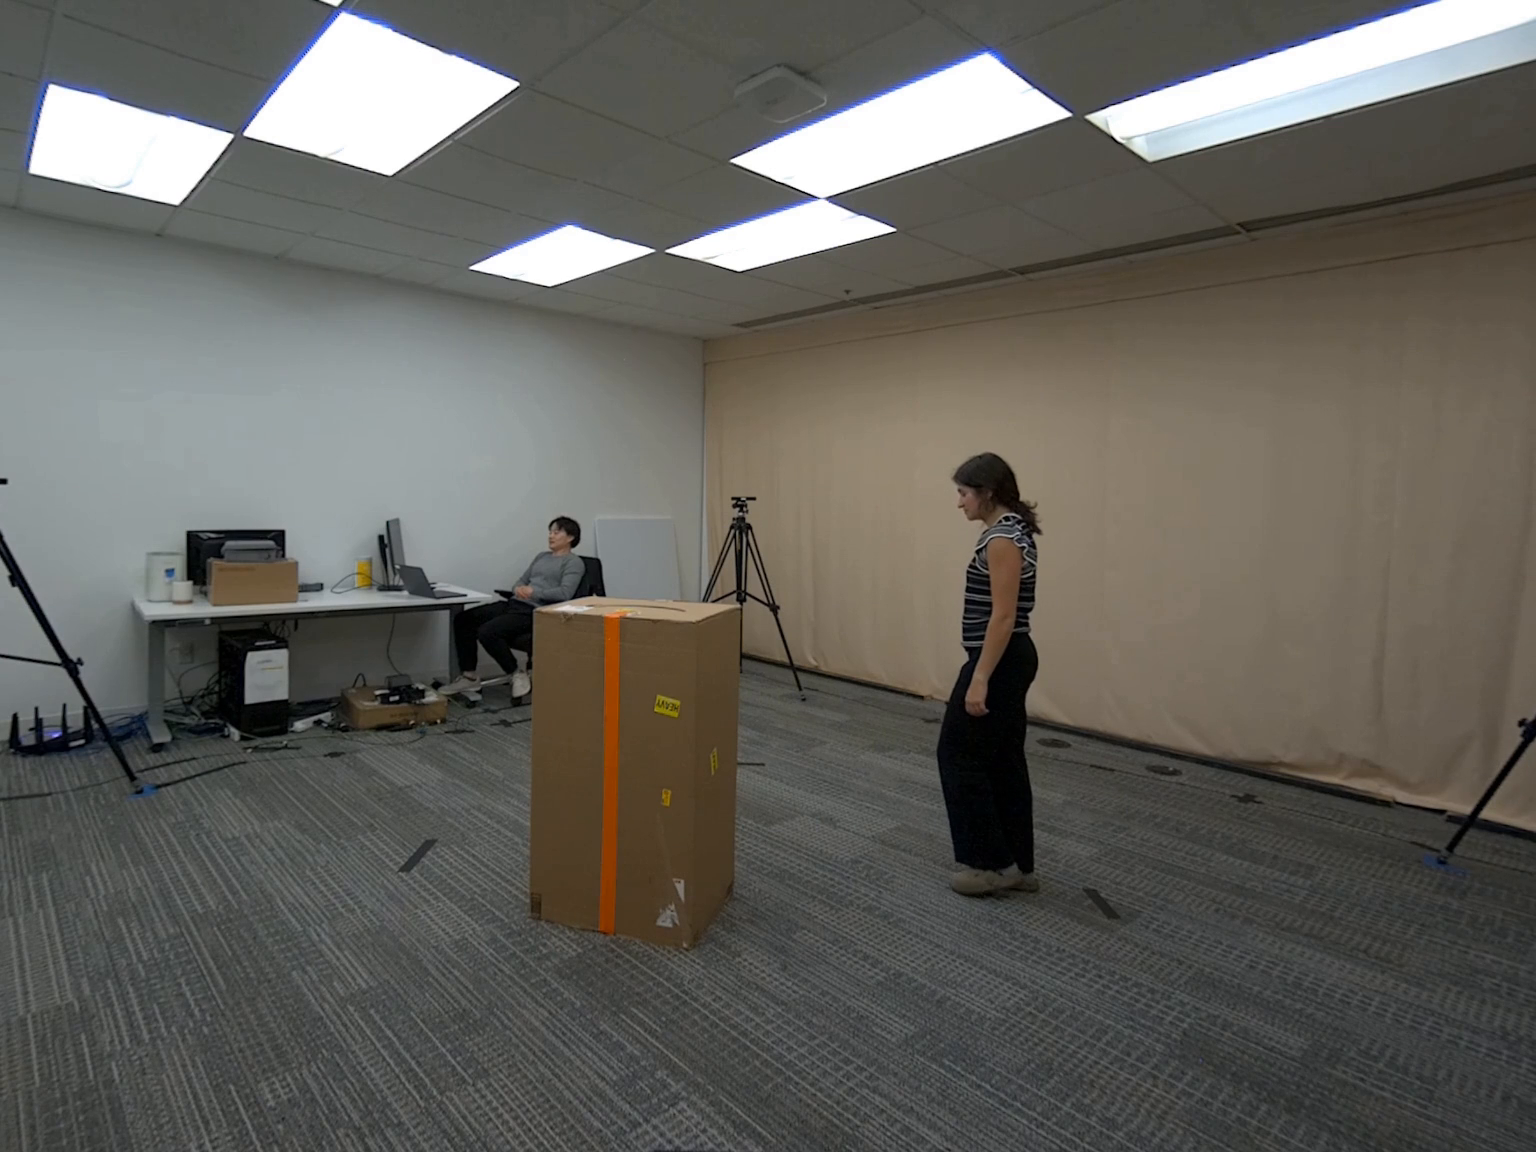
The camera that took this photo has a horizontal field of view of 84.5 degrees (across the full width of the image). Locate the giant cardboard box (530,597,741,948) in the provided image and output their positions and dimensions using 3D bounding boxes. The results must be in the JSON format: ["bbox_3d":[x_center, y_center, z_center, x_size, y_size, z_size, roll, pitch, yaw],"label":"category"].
[{"bbox_3d":[-0.444,0.615,2.841,0.586,1.023,0.421,3,4,18],"label":"giant cardboard box"}]
